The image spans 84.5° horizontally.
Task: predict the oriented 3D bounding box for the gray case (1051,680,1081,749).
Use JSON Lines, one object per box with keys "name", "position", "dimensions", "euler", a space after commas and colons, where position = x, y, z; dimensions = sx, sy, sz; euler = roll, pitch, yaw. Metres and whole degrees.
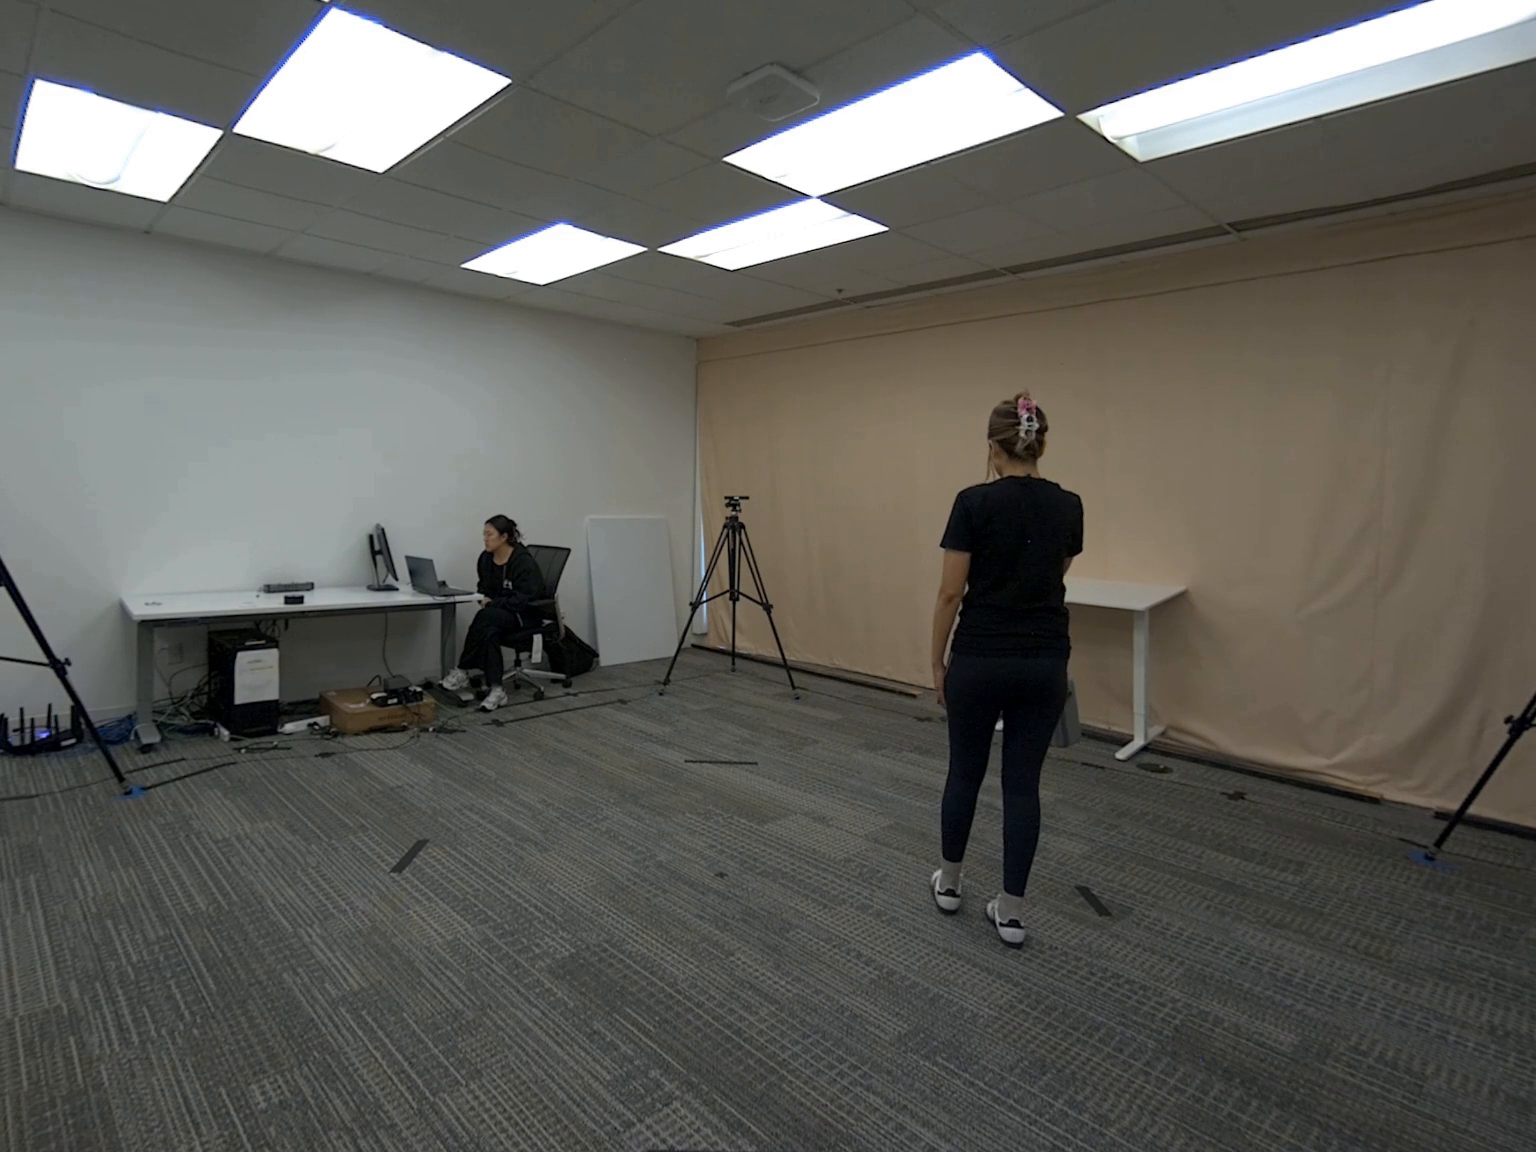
{"name": "gray case", "position": [1.007, 0.466, 3.071], "dimensions": [0.103, 0.259, 0.261], "euler": [-12, 9, -12]}
